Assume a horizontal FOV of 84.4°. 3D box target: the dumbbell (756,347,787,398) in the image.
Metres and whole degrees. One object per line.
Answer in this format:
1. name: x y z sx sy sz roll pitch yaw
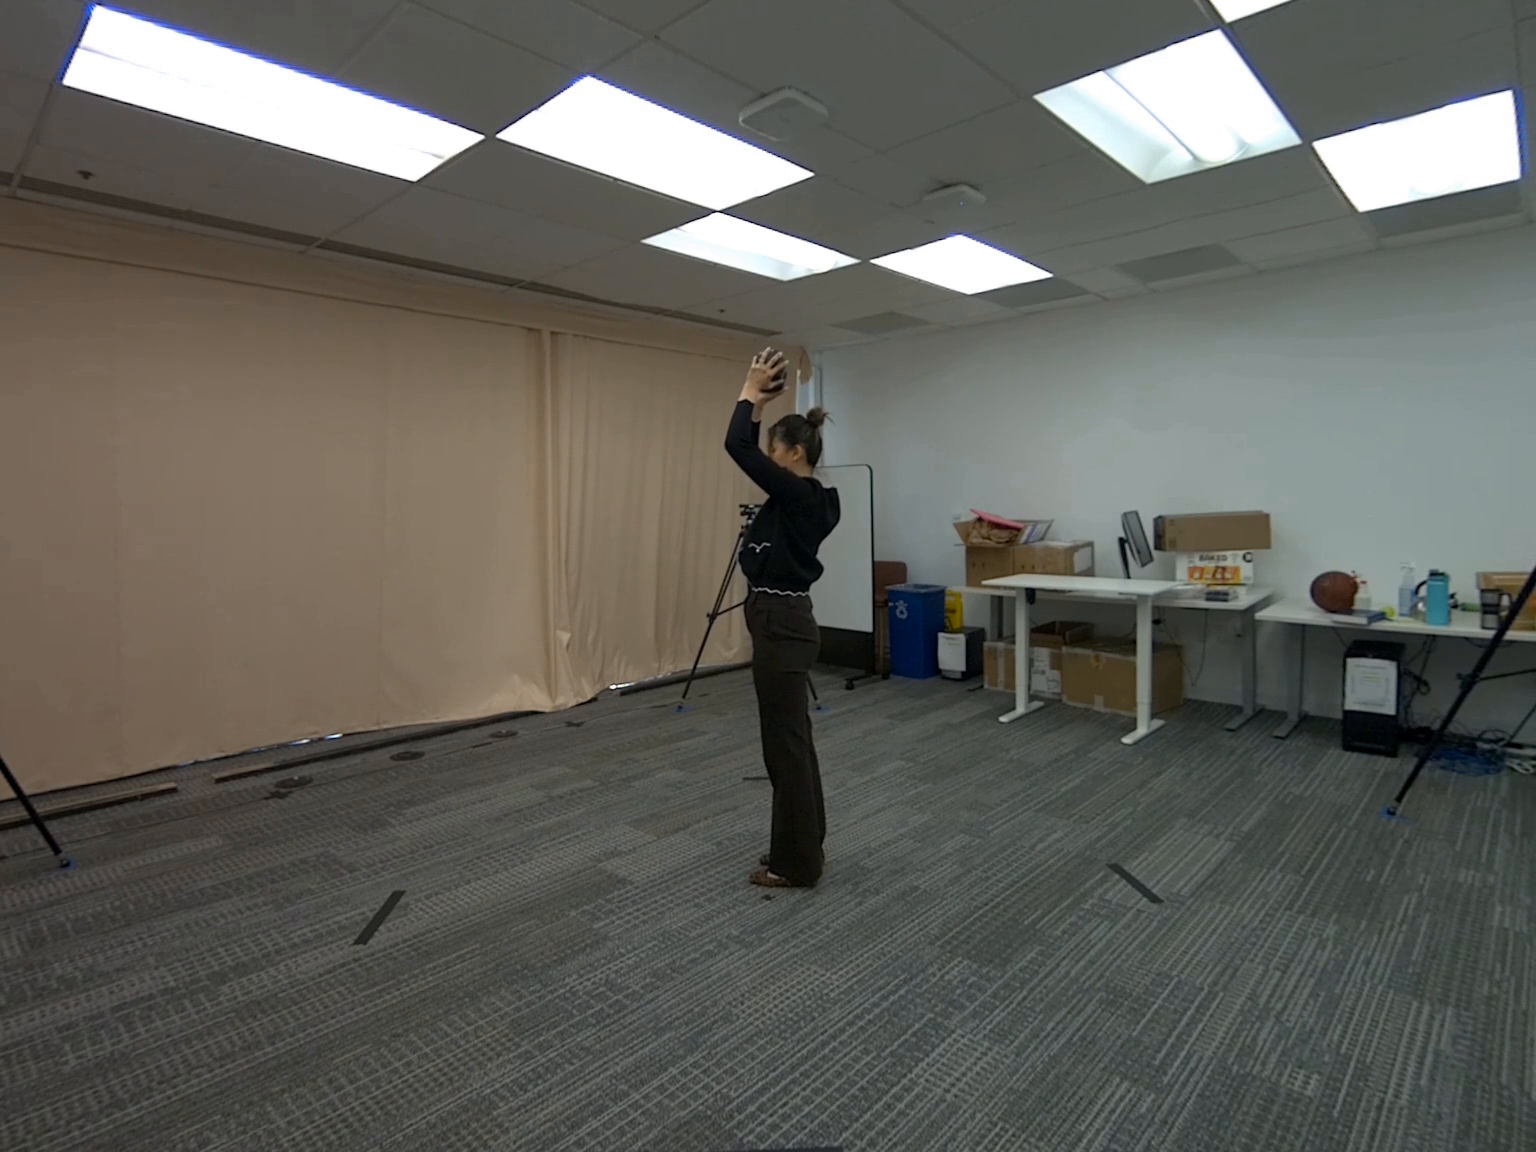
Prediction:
1. dumbbell: 0.006 -0.756 3.139 0.124 0.108 0.292 -14 3 6
